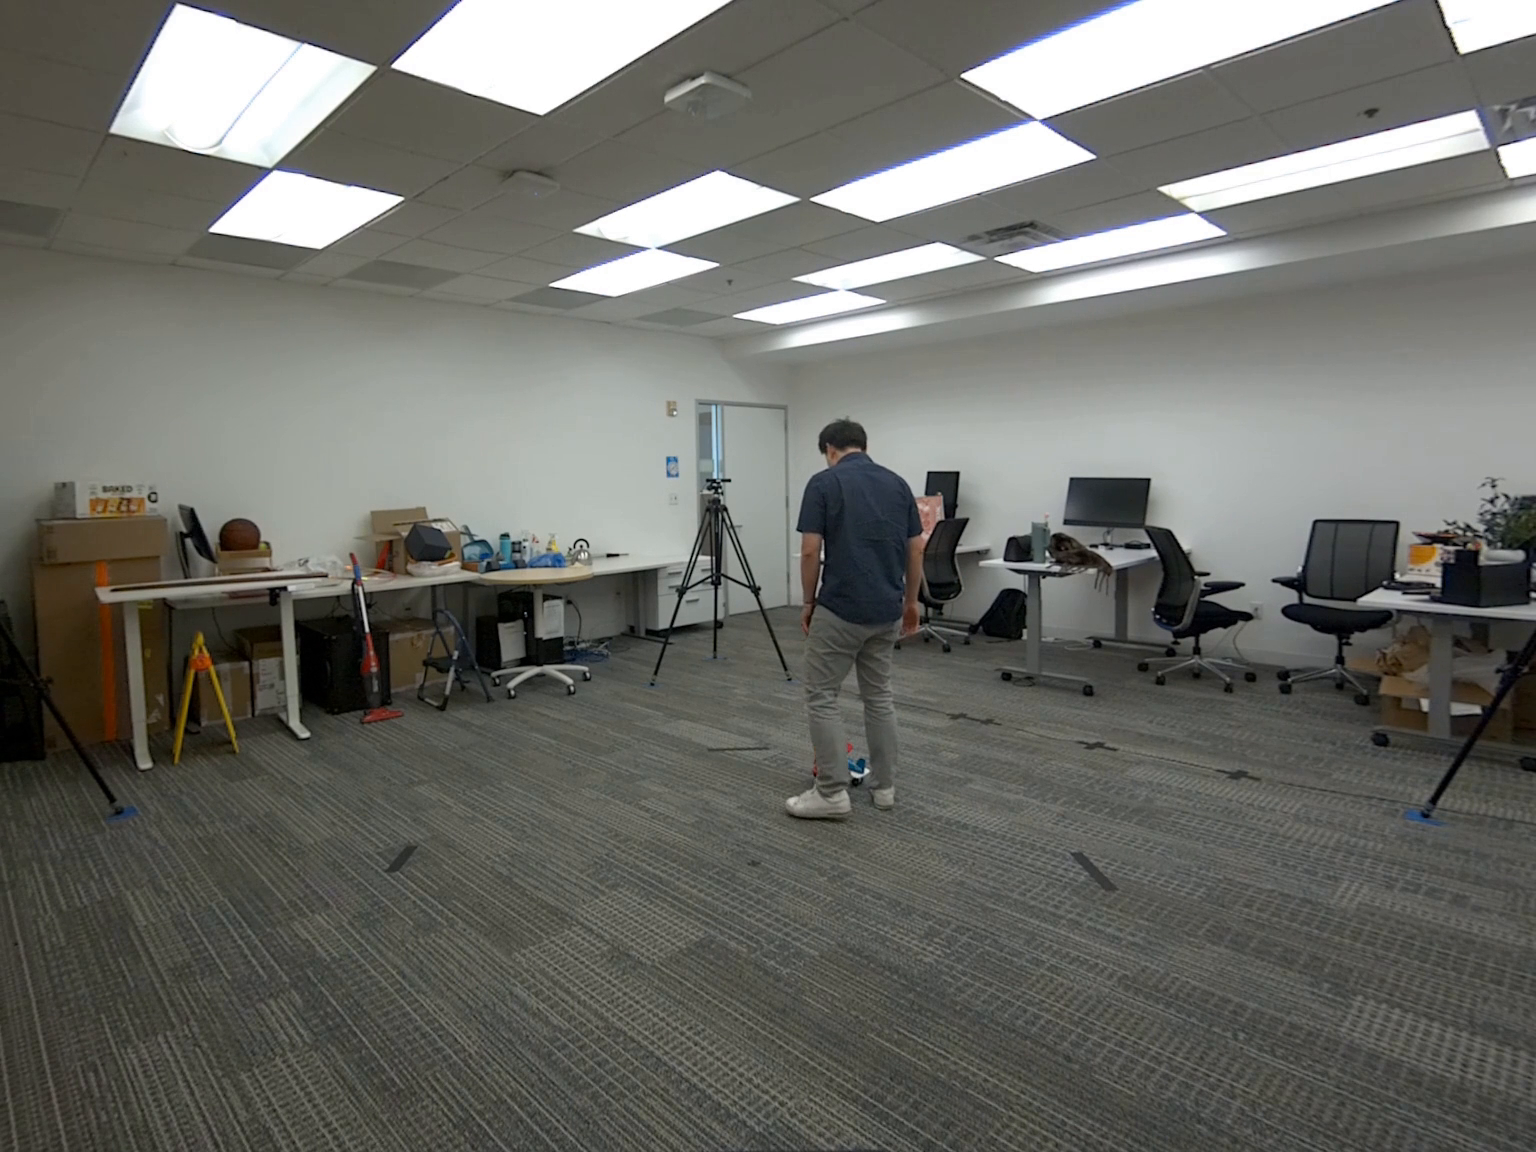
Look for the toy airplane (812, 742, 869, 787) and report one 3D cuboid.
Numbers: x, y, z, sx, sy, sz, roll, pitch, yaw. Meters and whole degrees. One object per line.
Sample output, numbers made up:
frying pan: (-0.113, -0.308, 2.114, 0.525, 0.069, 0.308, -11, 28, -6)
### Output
toy airplane: (0.339, 0.870, 3.964, 0.262, 0.156, 0.249, -1, 5, 10)
